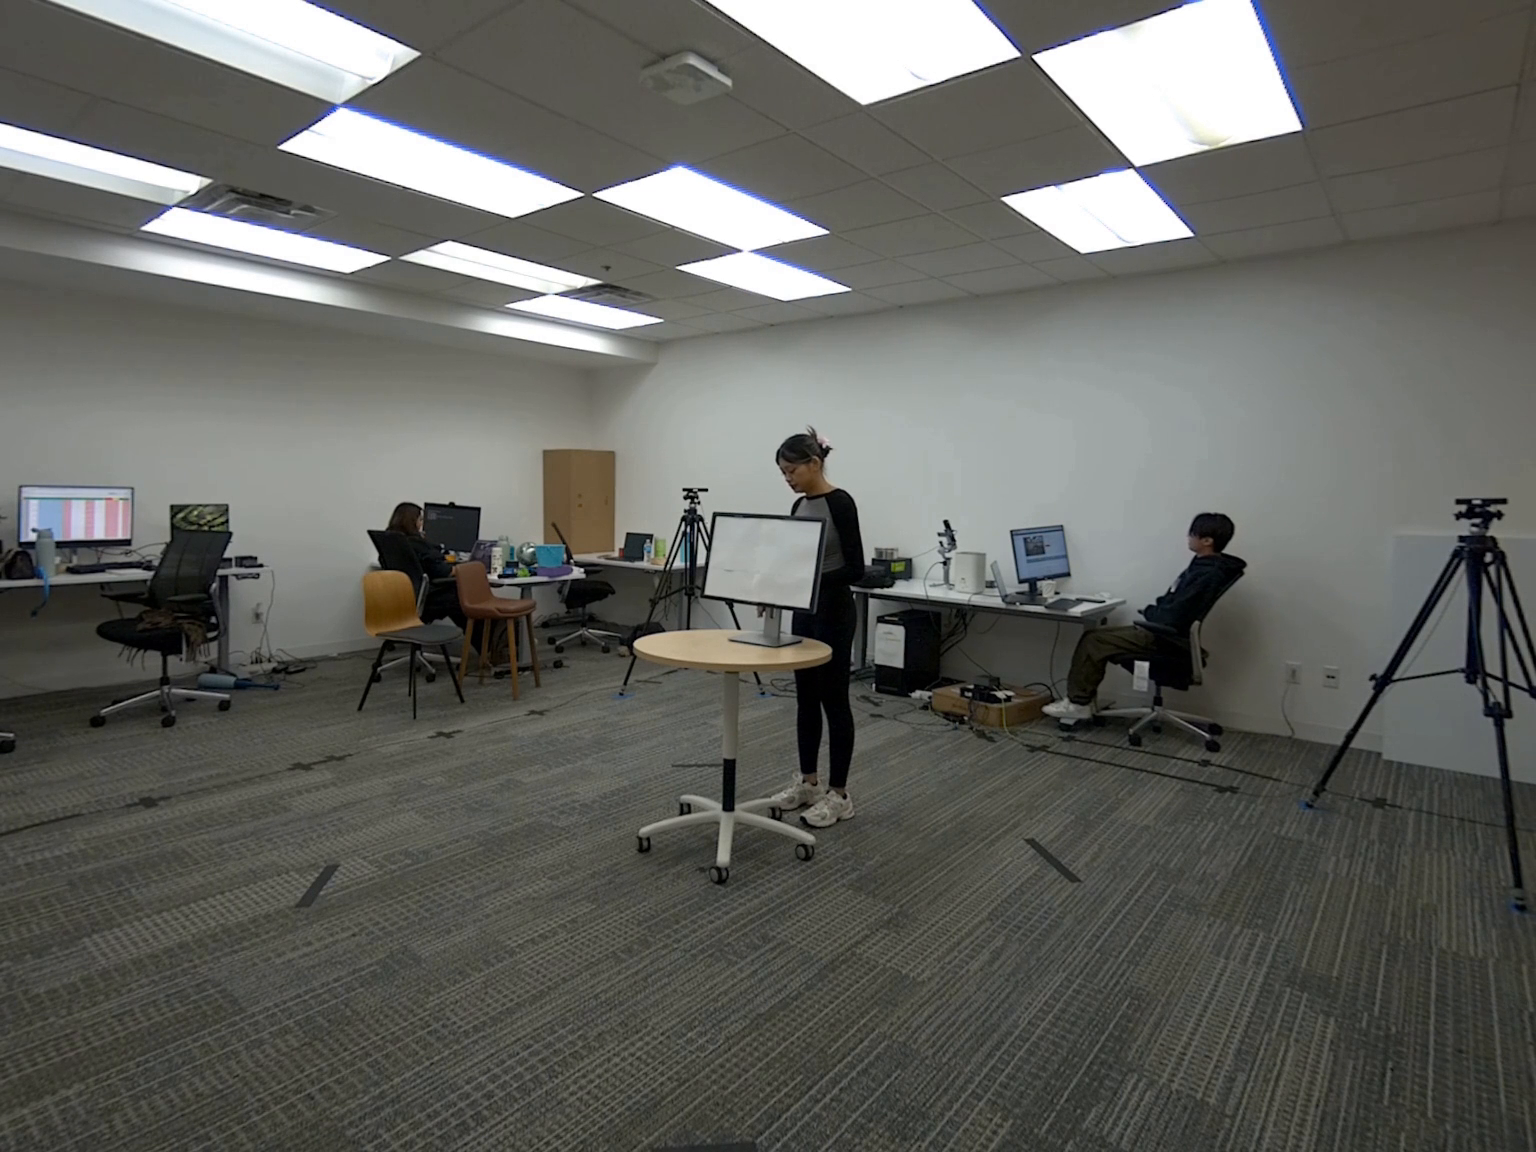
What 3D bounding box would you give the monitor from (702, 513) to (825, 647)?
[{"bbox_3d":[-0.014,0.013,3.393,0.557,0.520,0.182,5,7,37],"label":"monitor"}]
